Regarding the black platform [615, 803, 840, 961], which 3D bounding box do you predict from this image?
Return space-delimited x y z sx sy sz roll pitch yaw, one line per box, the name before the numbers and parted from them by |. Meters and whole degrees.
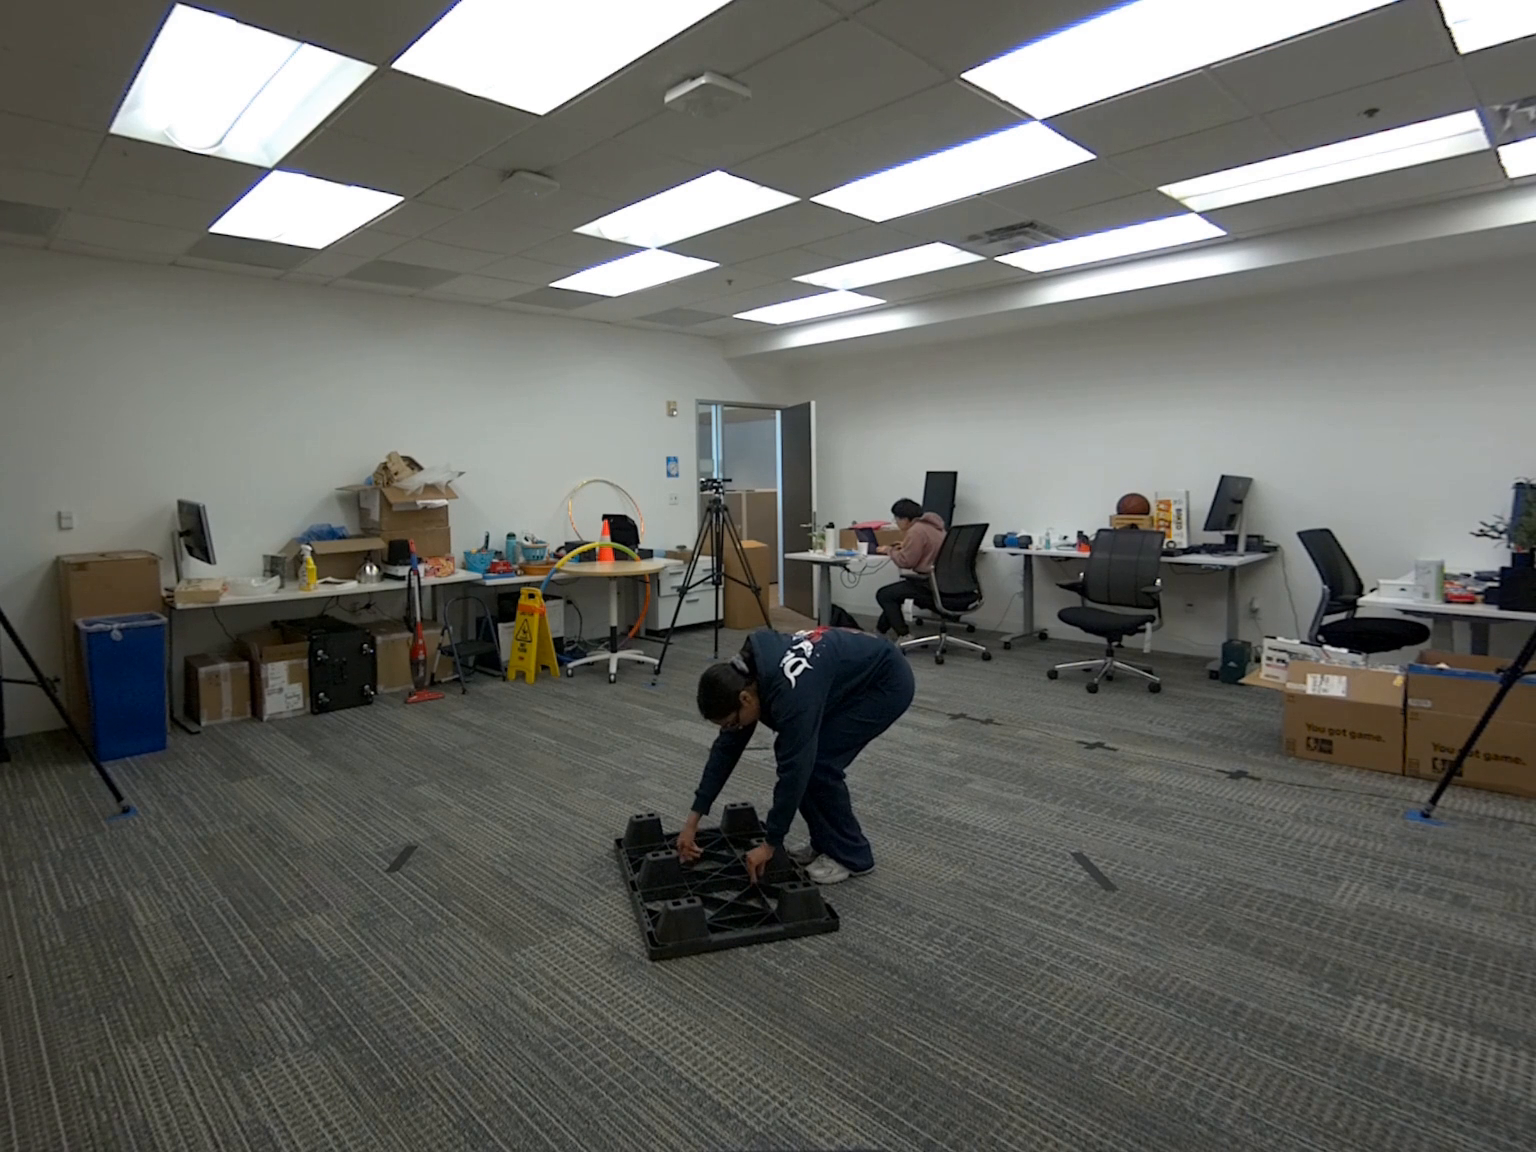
black platform | -0.177 0.996 2.933 0.596 0.142 0.822 -3 7 -17
